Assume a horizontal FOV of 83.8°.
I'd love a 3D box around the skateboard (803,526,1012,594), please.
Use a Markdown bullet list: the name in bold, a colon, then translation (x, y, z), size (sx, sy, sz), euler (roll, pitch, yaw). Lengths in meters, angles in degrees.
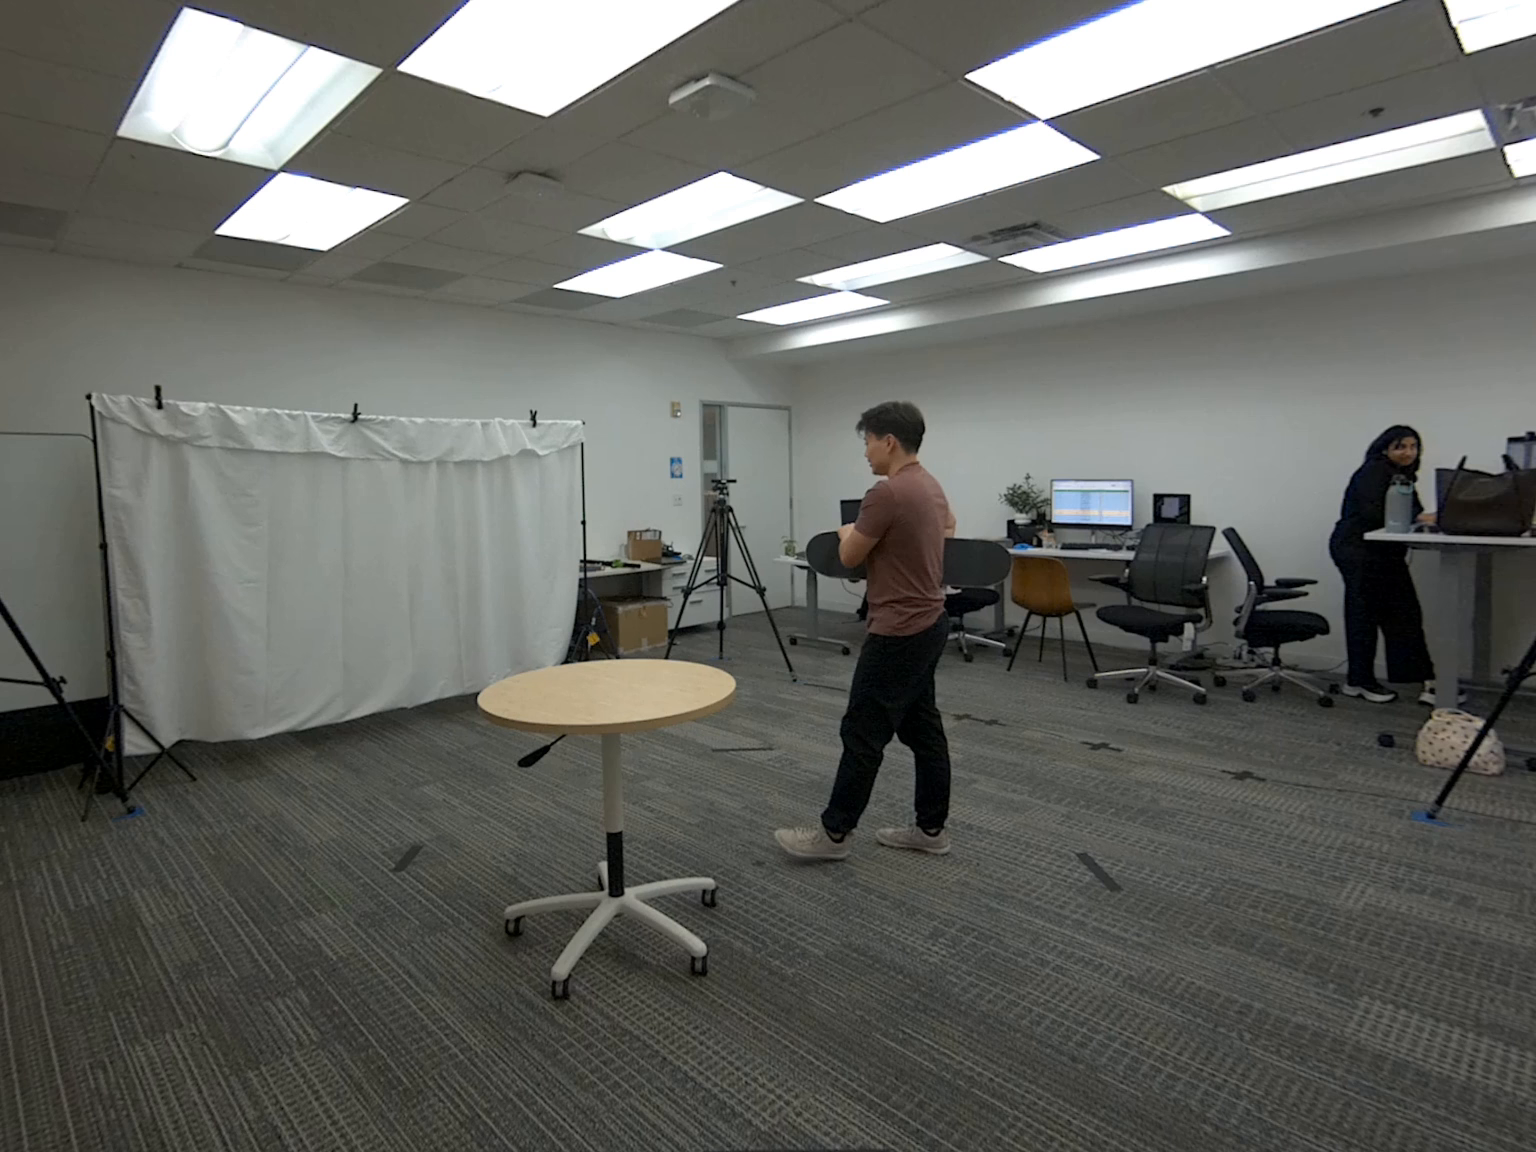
- **skateboard**: translation (0.539, -0.066, 3.379), size (0.793, 0.196, 0.108), euler (4, -16, 9)
